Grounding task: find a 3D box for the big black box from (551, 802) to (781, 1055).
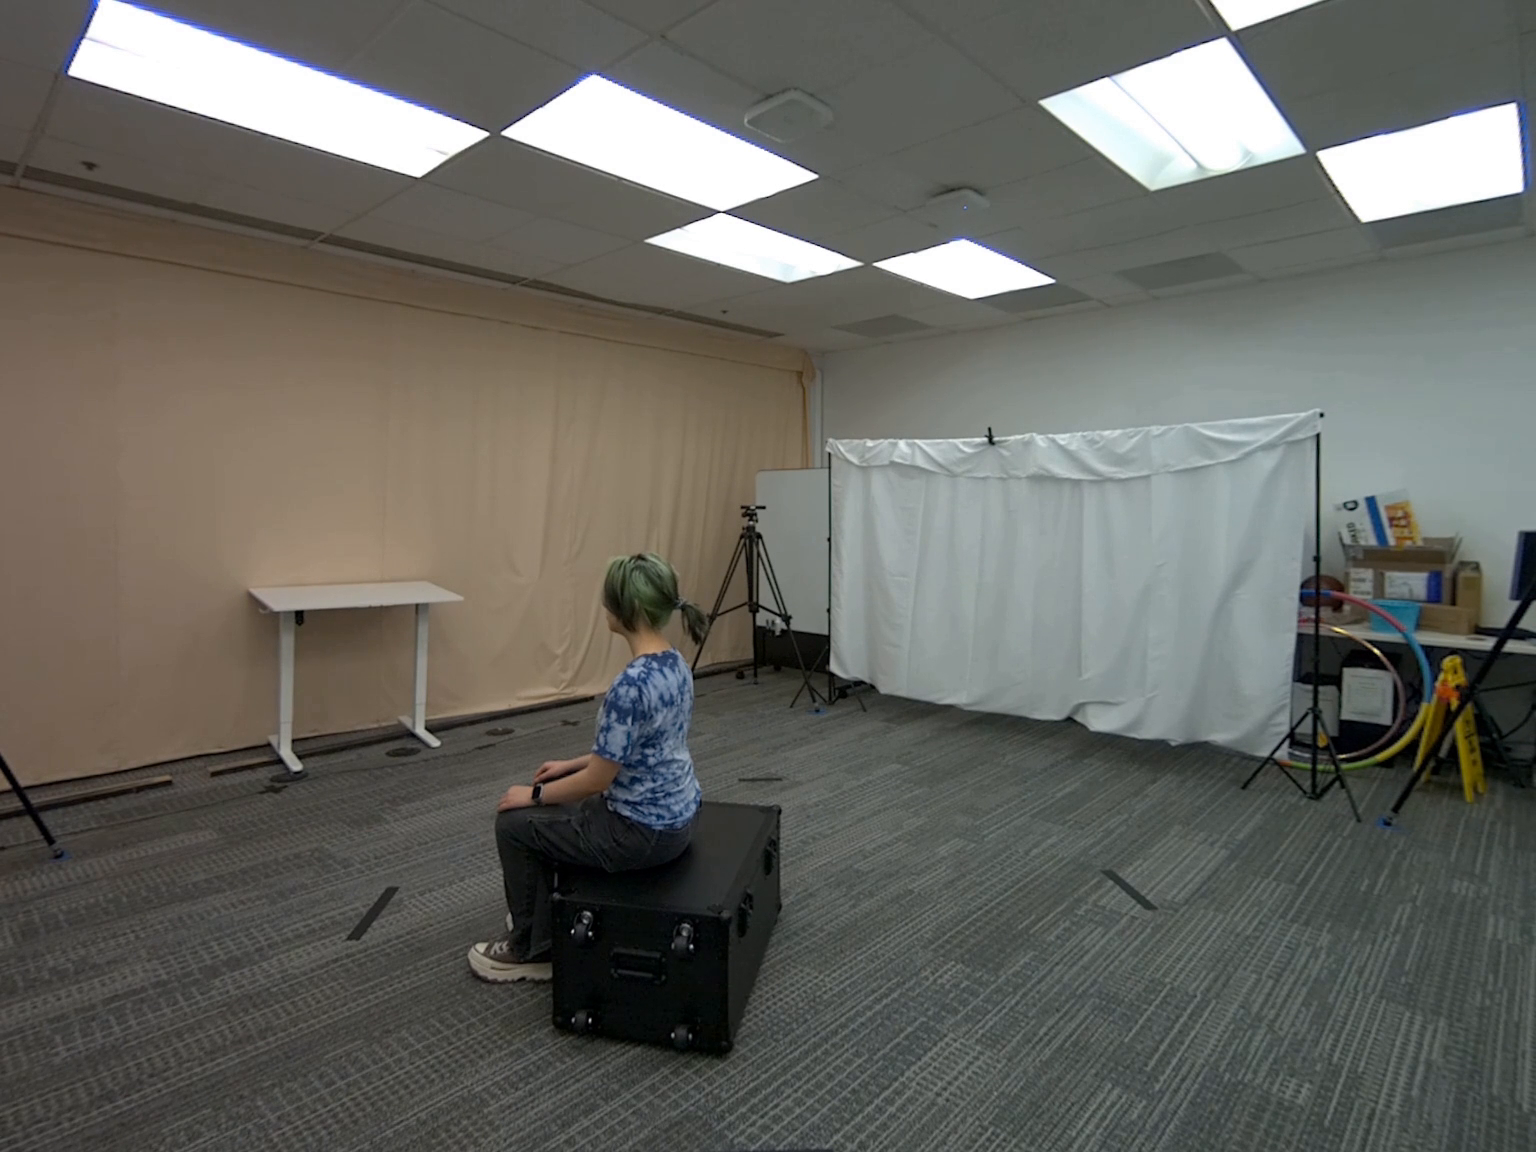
[{"bbox_3d":[-0.264,0.996,2.495,0.528,0.395,0.852,1,4,11],"label":"big black box"}]
